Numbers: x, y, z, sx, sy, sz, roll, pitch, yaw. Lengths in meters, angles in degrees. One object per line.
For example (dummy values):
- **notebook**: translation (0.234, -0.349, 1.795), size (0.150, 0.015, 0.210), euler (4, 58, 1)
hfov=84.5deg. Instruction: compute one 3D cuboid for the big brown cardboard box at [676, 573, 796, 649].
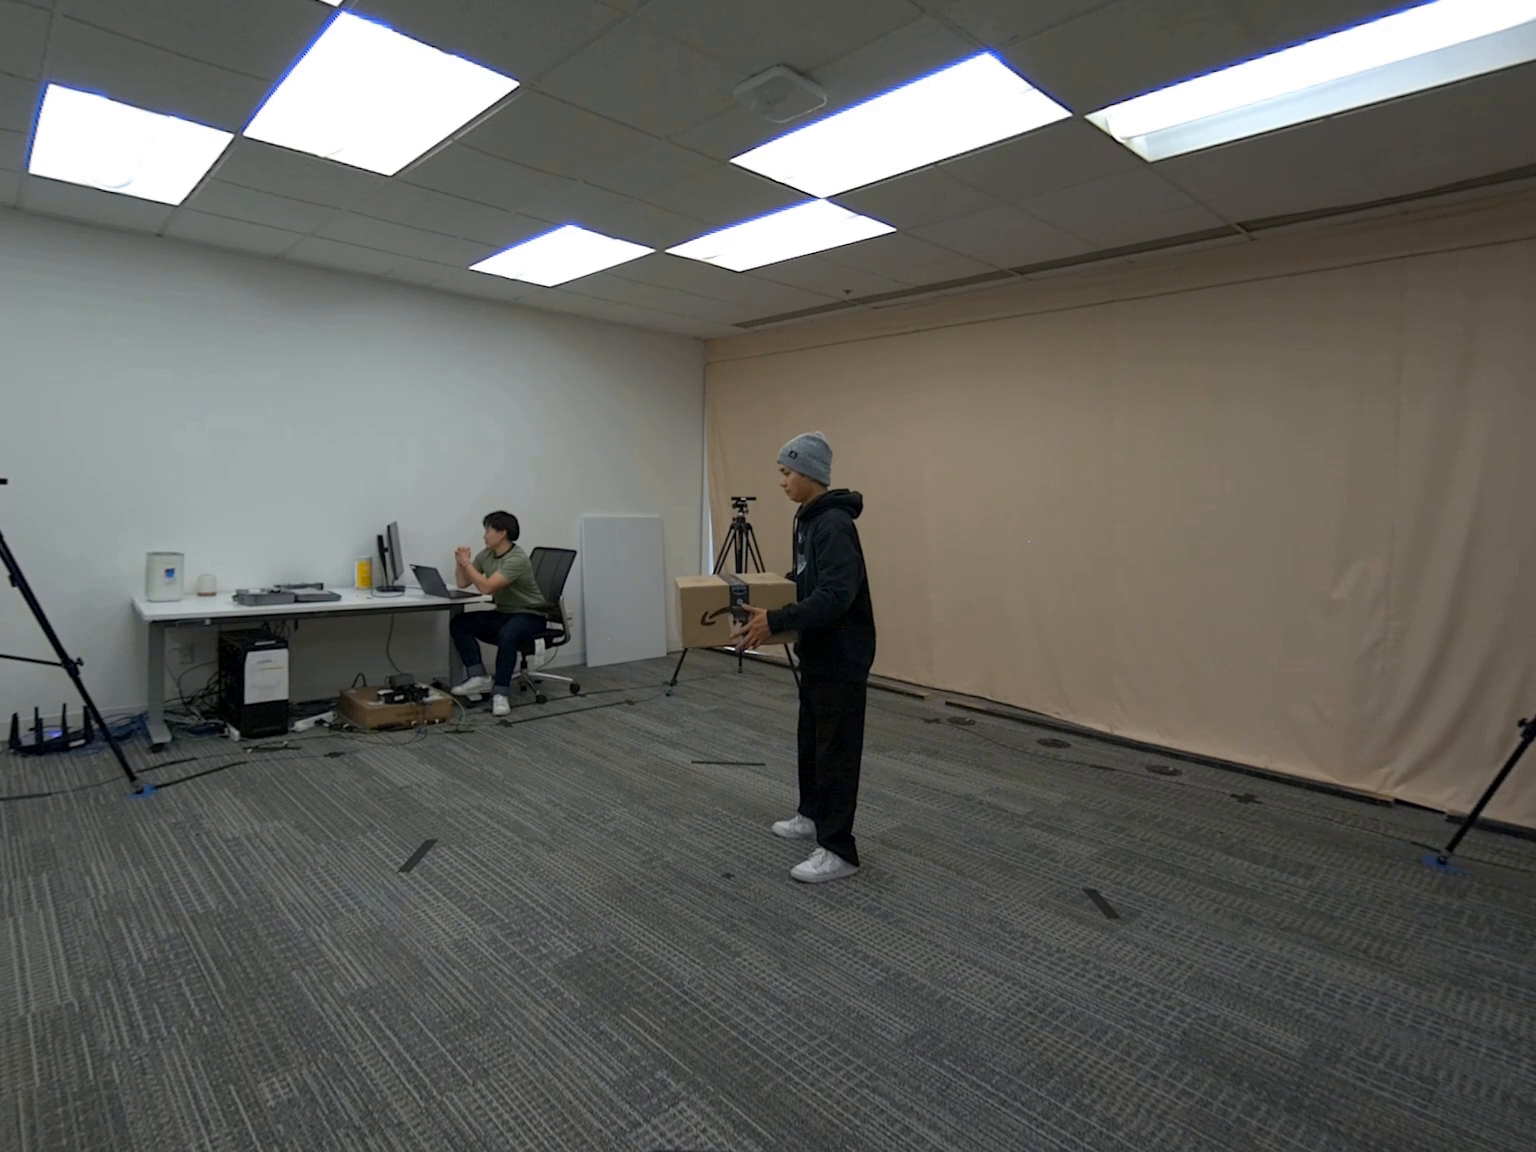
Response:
- **big brown cardboard box**: translation (-0.134, 0.124, 3.241), size (0.416, 0.233, 0.592), euler (-3, 3, -6)
